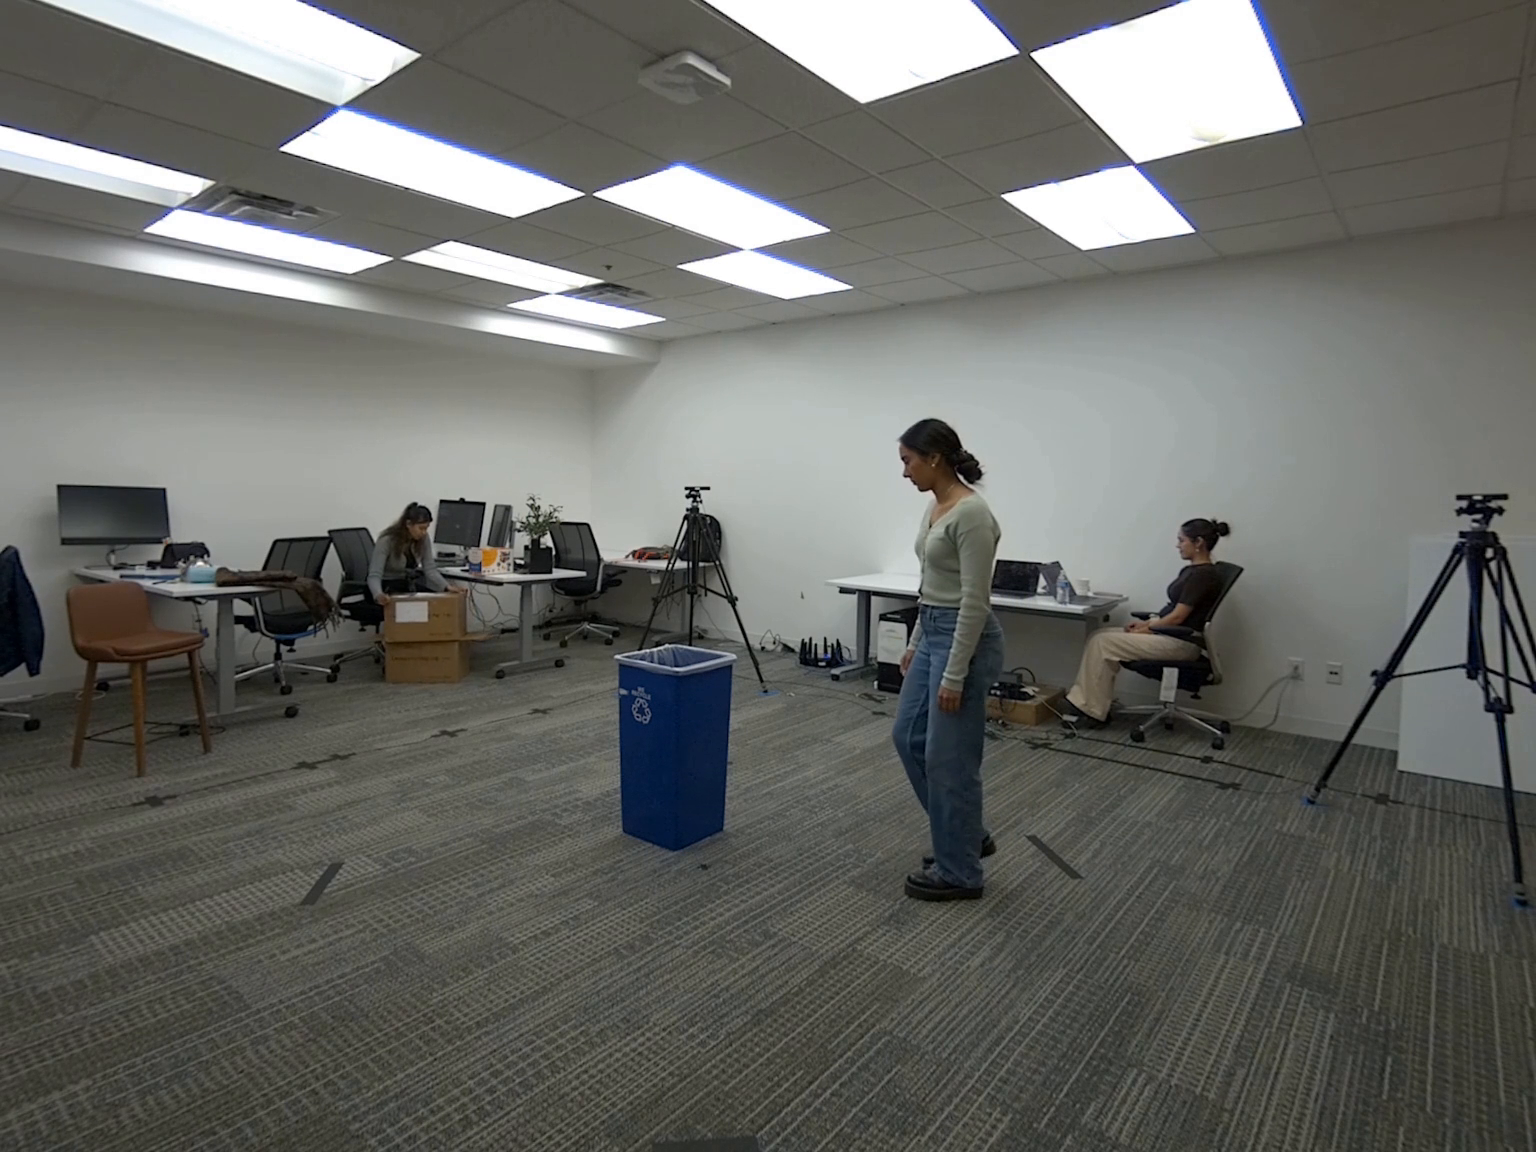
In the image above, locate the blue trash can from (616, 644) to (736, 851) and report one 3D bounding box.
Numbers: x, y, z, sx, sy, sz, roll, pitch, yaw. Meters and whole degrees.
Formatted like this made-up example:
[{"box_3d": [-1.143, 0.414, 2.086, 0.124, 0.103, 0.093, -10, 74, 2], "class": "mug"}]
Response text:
[{"box_3d": [-0.381, 0.673, 3.429, 0.386, 0.711, 0.367, 3, 4, 38], "class": "blue trash can"}]
